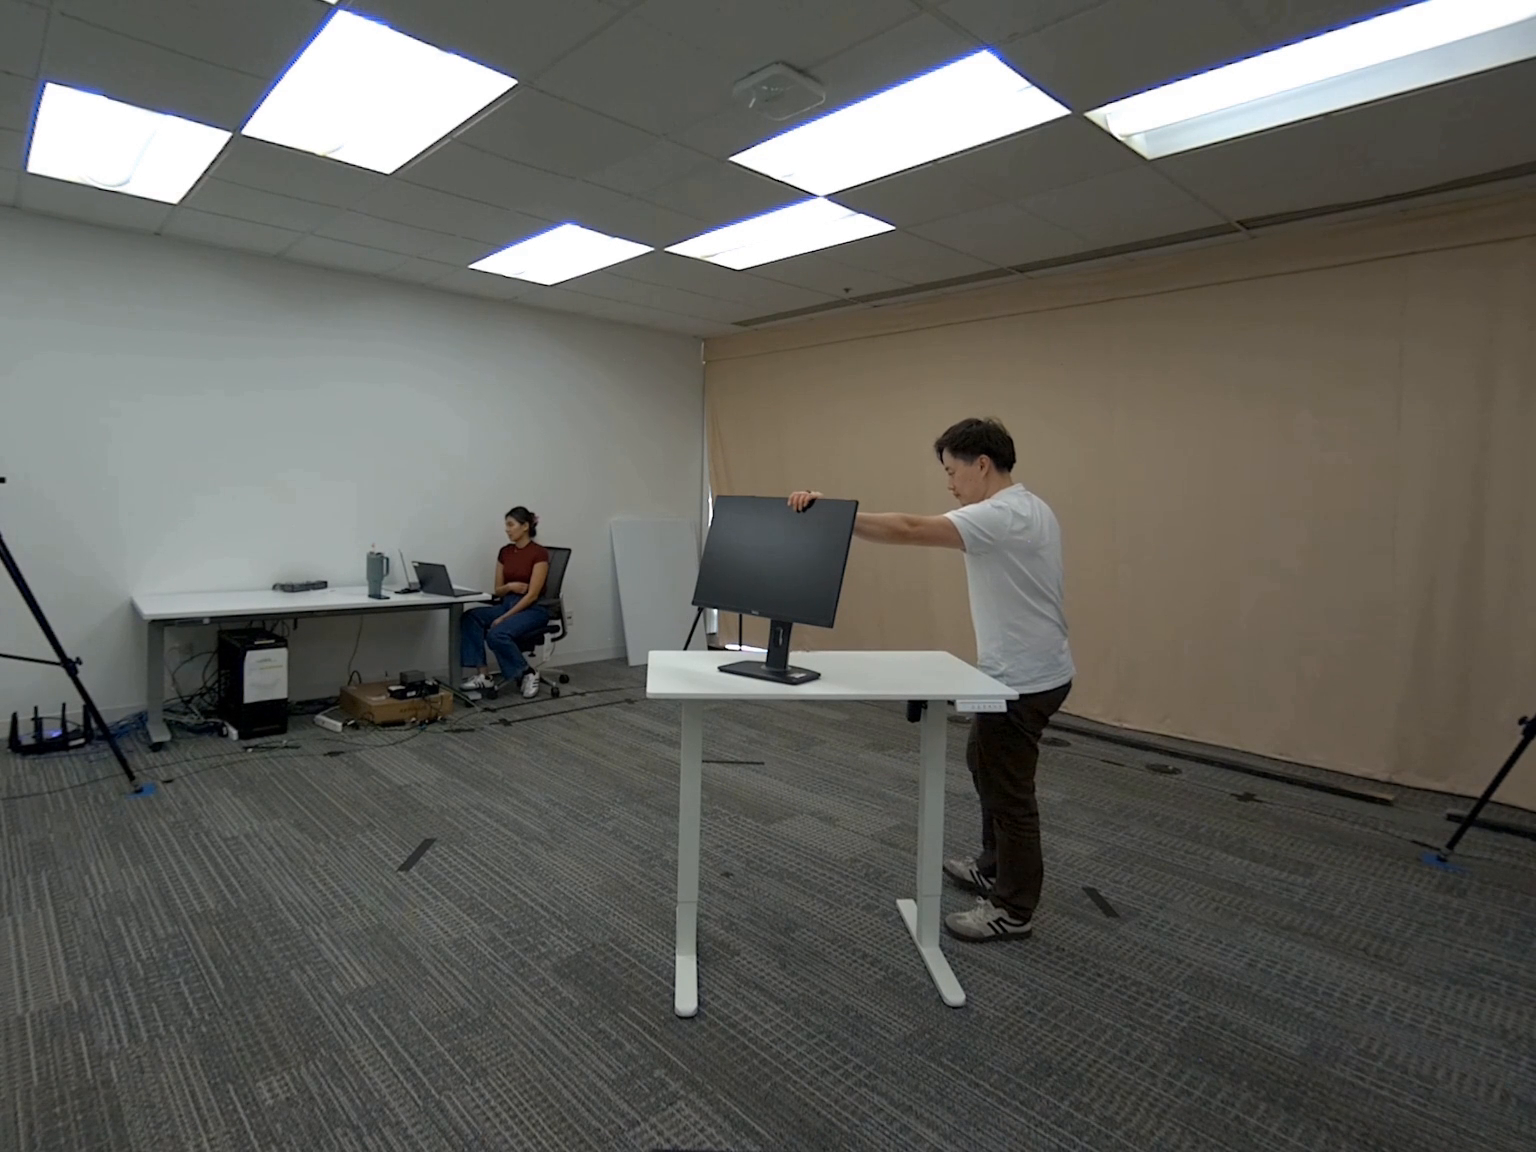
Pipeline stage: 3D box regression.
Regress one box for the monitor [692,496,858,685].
[{"bbox_3d":[0.018,0.037,2.433,0.553,0.521,0.183,6,4,41],"label":"monitor"}]
